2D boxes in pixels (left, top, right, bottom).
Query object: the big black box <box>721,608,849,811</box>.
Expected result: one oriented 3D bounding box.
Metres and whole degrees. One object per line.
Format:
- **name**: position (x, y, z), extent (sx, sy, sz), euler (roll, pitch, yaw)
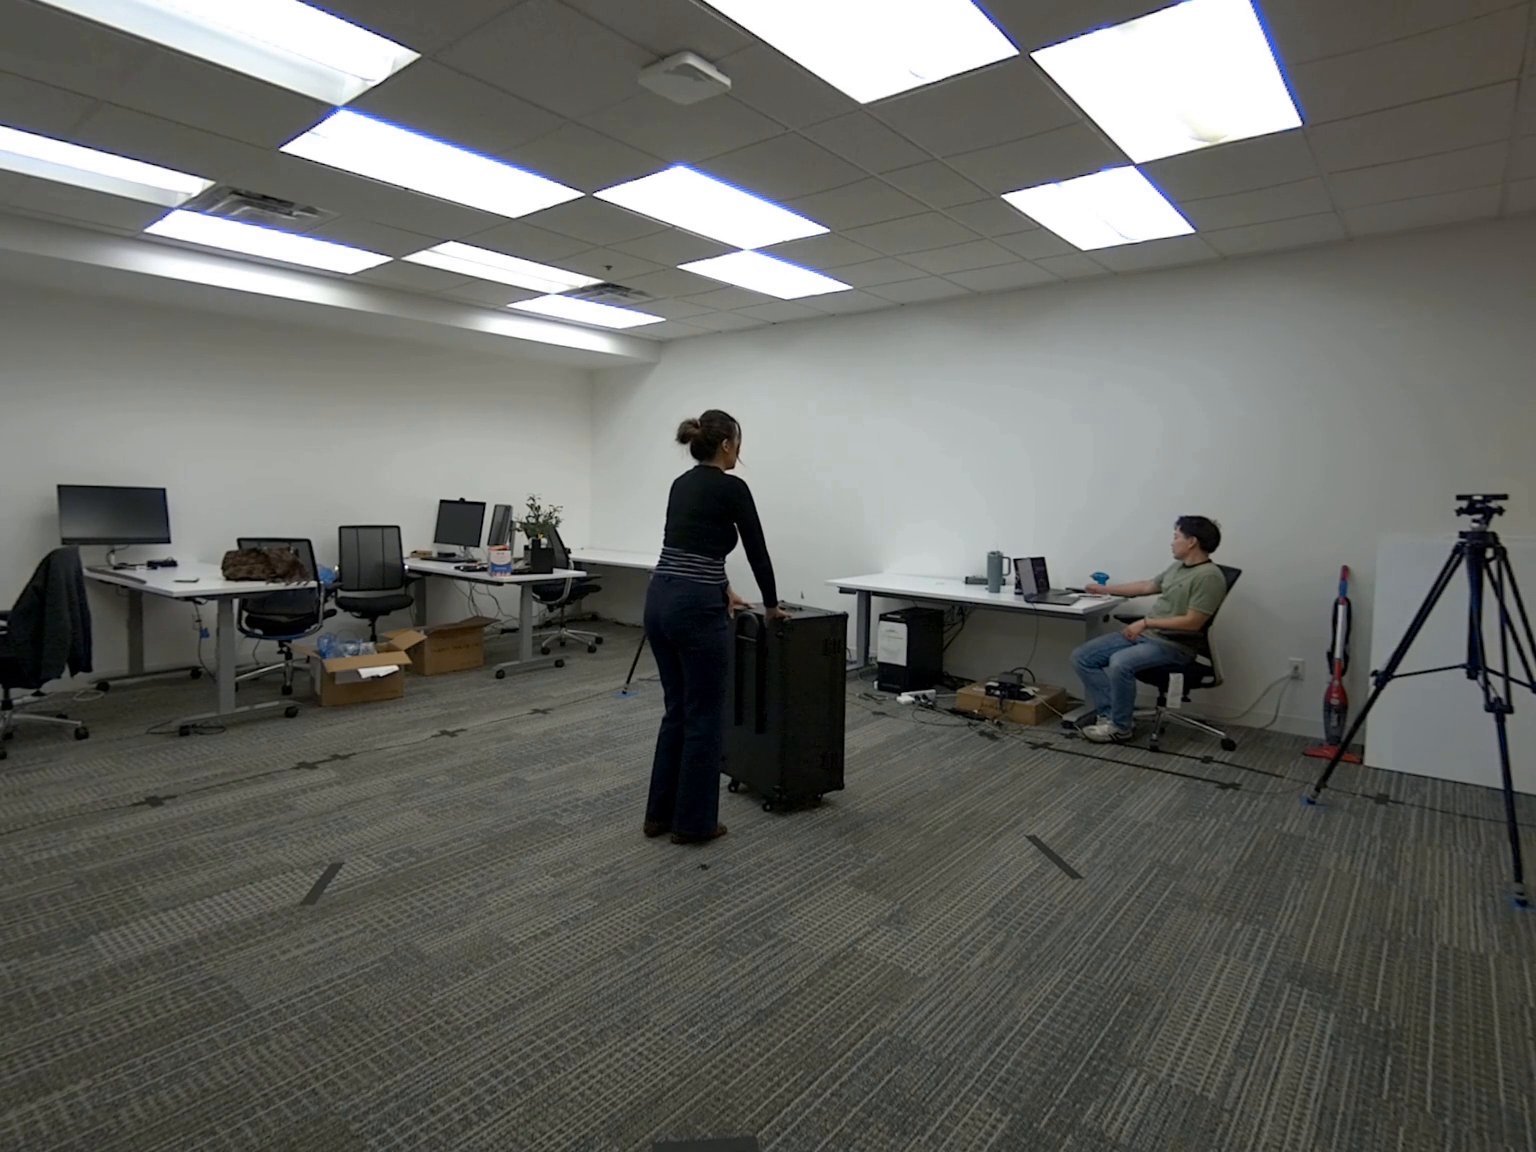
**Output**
- **big black box**: position (0.046, 0.570, 3.839), extent (0.385, 0.859, 0.538), euler (-2, 4, -35)
